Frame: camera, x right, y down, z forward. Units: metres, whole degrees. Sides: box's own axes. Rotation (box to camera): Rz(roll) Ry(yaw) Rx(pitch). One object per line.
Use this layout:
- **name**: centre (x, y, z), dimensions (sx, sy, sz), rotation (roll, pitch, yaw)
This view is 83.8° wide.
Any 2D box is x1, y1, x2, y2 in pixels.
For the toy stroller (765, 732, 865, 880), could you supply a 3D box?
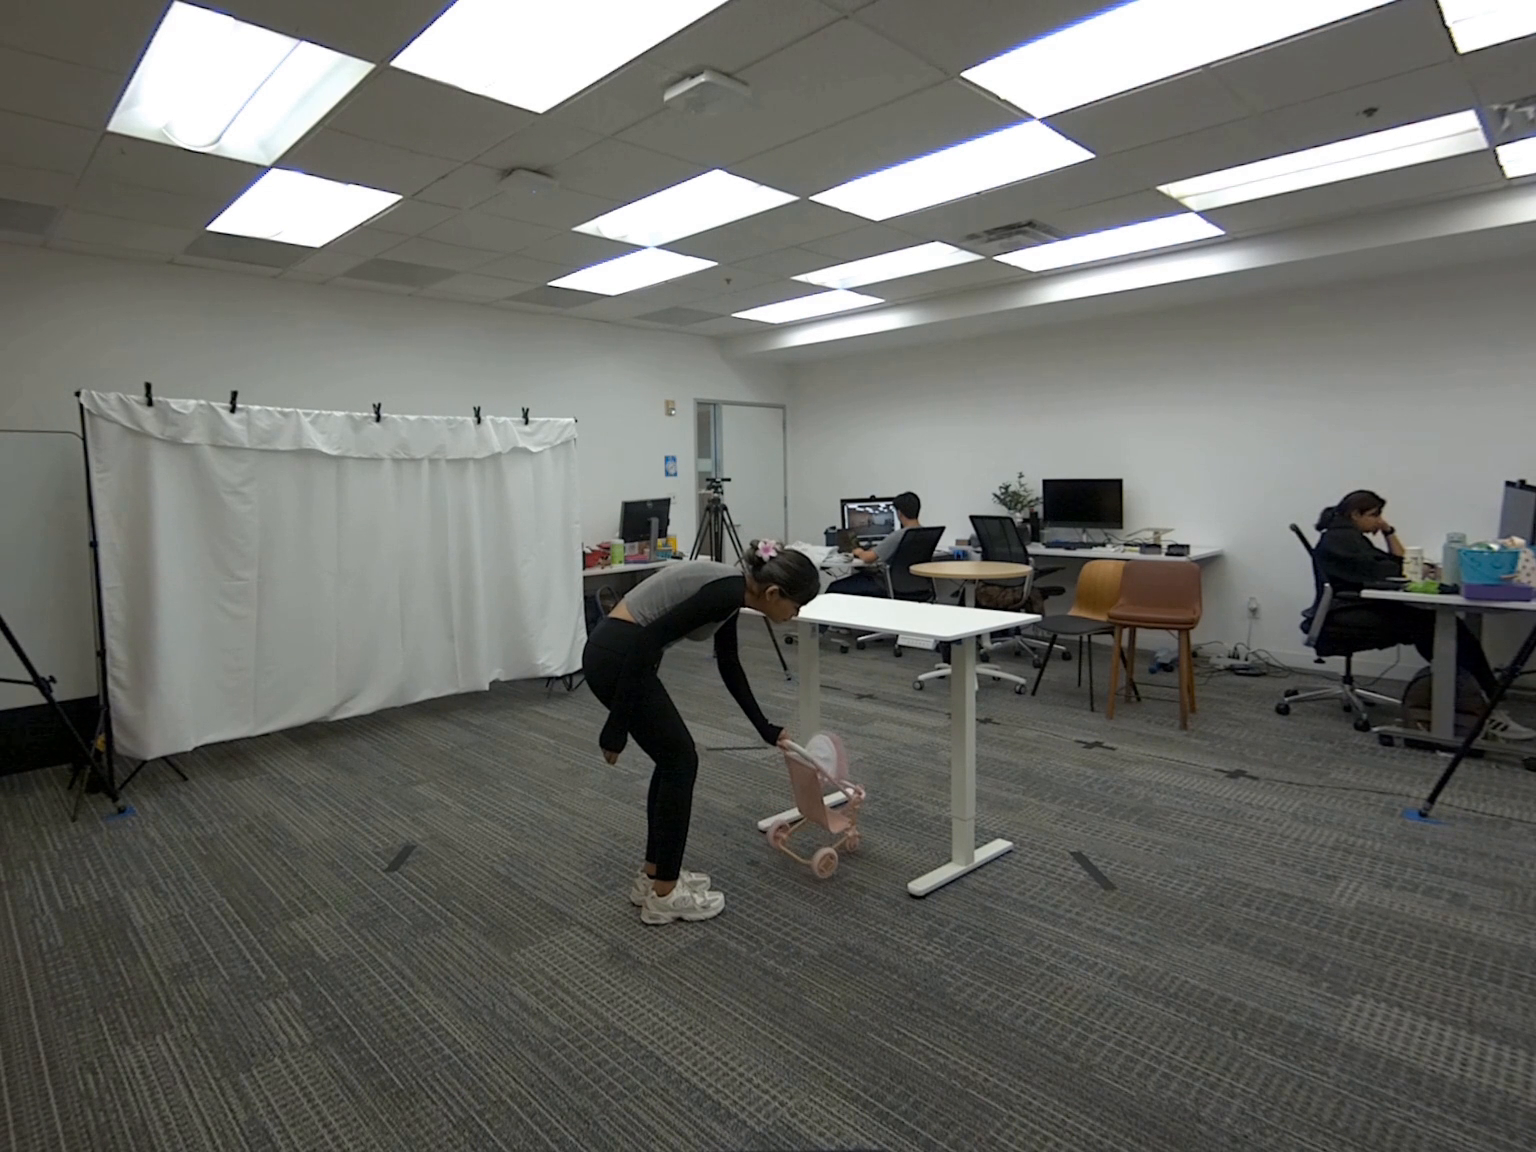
- **toy stroller**: centre (0.196, 0.796, 3.064), dimensions (0.334, 0.529, 0.290), rotation (-11, 12, -31)
